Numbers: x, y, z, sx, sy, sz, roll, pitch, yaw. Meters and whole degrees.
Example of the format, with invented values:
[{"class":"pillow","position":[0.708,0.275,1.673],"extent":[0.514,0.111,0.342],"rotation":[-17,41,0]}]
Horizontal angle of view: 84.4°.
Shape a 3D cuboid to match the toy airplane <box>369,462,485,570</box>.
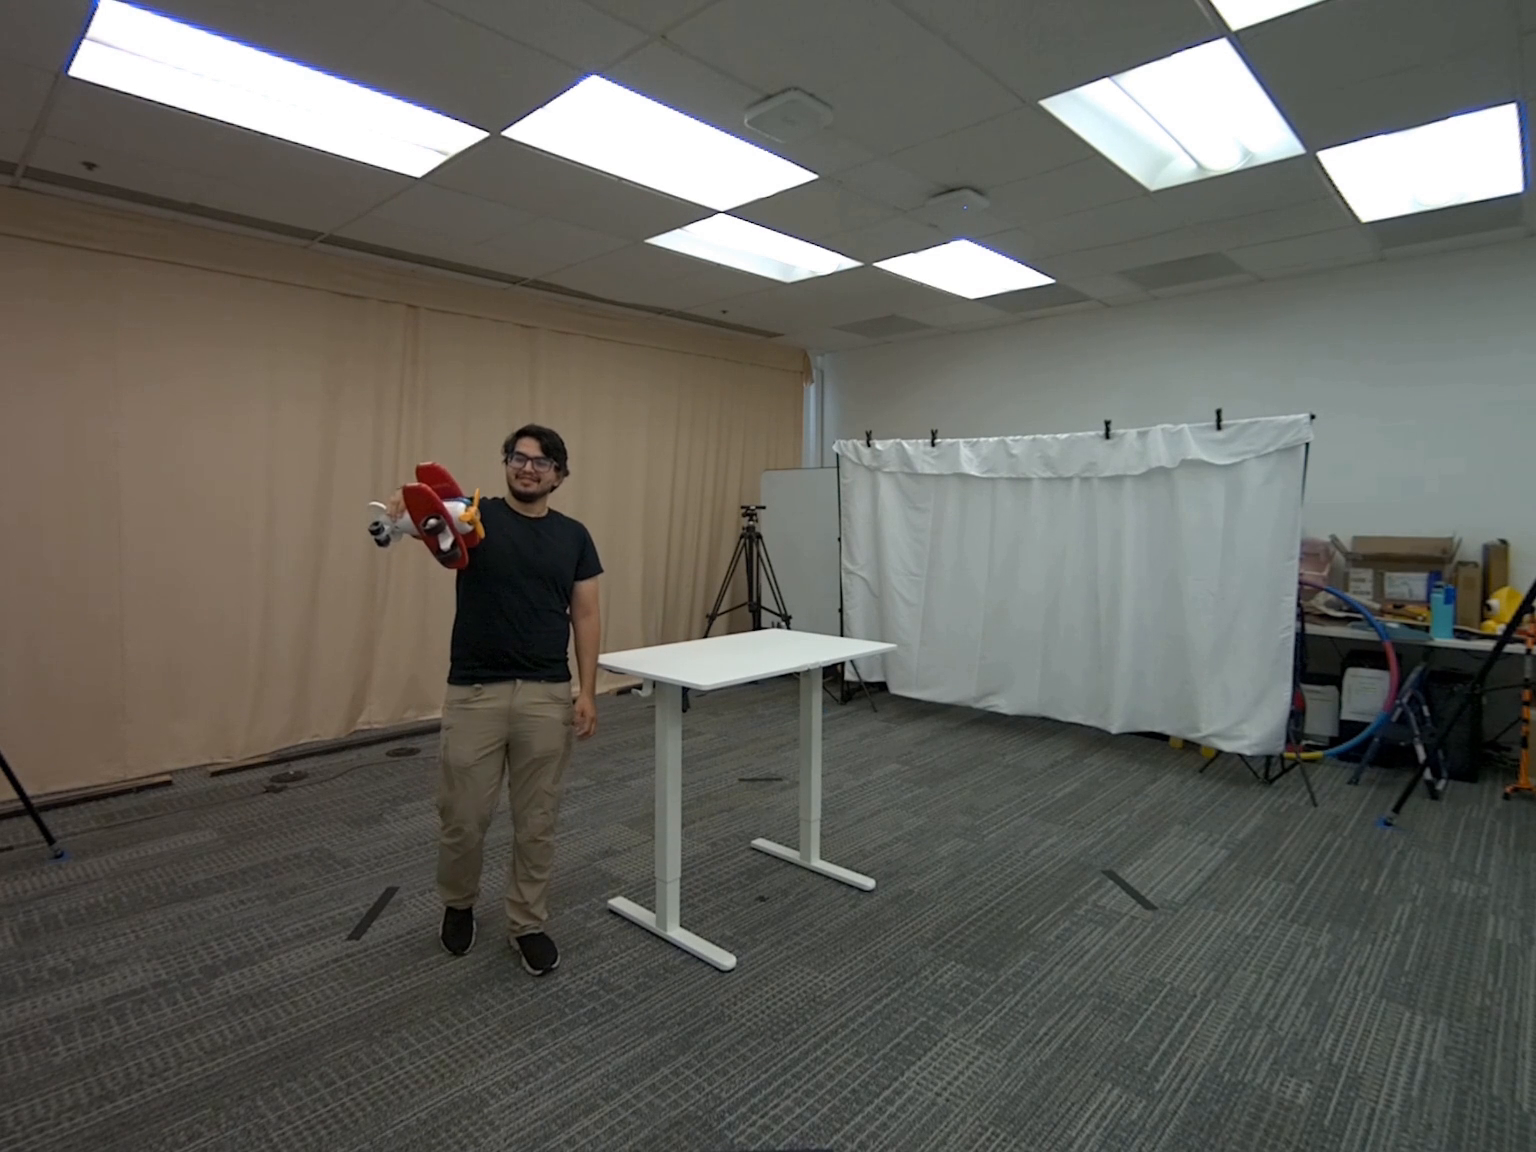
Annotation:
[{"class":"toy airplane","position":[-0.804,-0.142,1.947],"extent":[0.260,0.250,0.156],"rotation":[27,47,1]}]
